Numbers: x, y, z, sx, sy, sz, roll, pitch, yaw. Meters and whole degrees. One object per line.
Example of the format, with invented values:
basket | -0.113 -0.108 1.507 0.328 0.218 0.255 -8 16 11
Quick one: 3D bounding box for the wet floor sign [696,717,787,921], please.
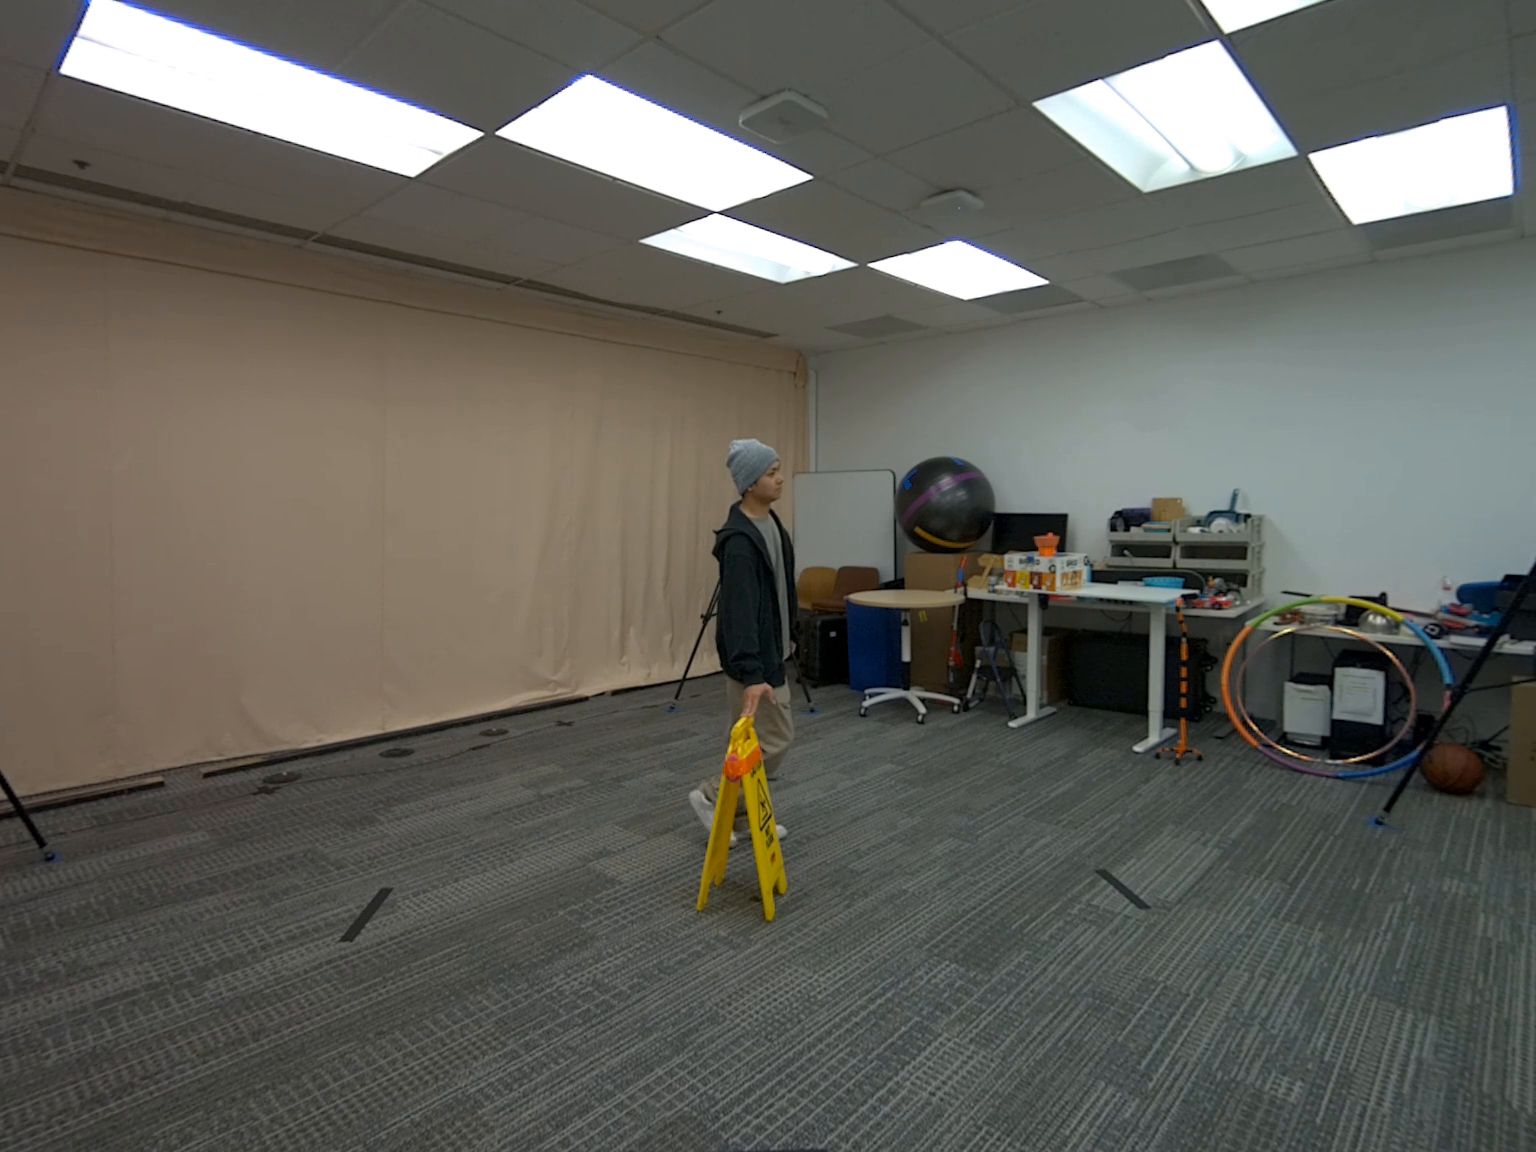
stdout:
wet floor sign | -0.091 0.820 2.969 0.294 0.645 0.278 0 2 15
